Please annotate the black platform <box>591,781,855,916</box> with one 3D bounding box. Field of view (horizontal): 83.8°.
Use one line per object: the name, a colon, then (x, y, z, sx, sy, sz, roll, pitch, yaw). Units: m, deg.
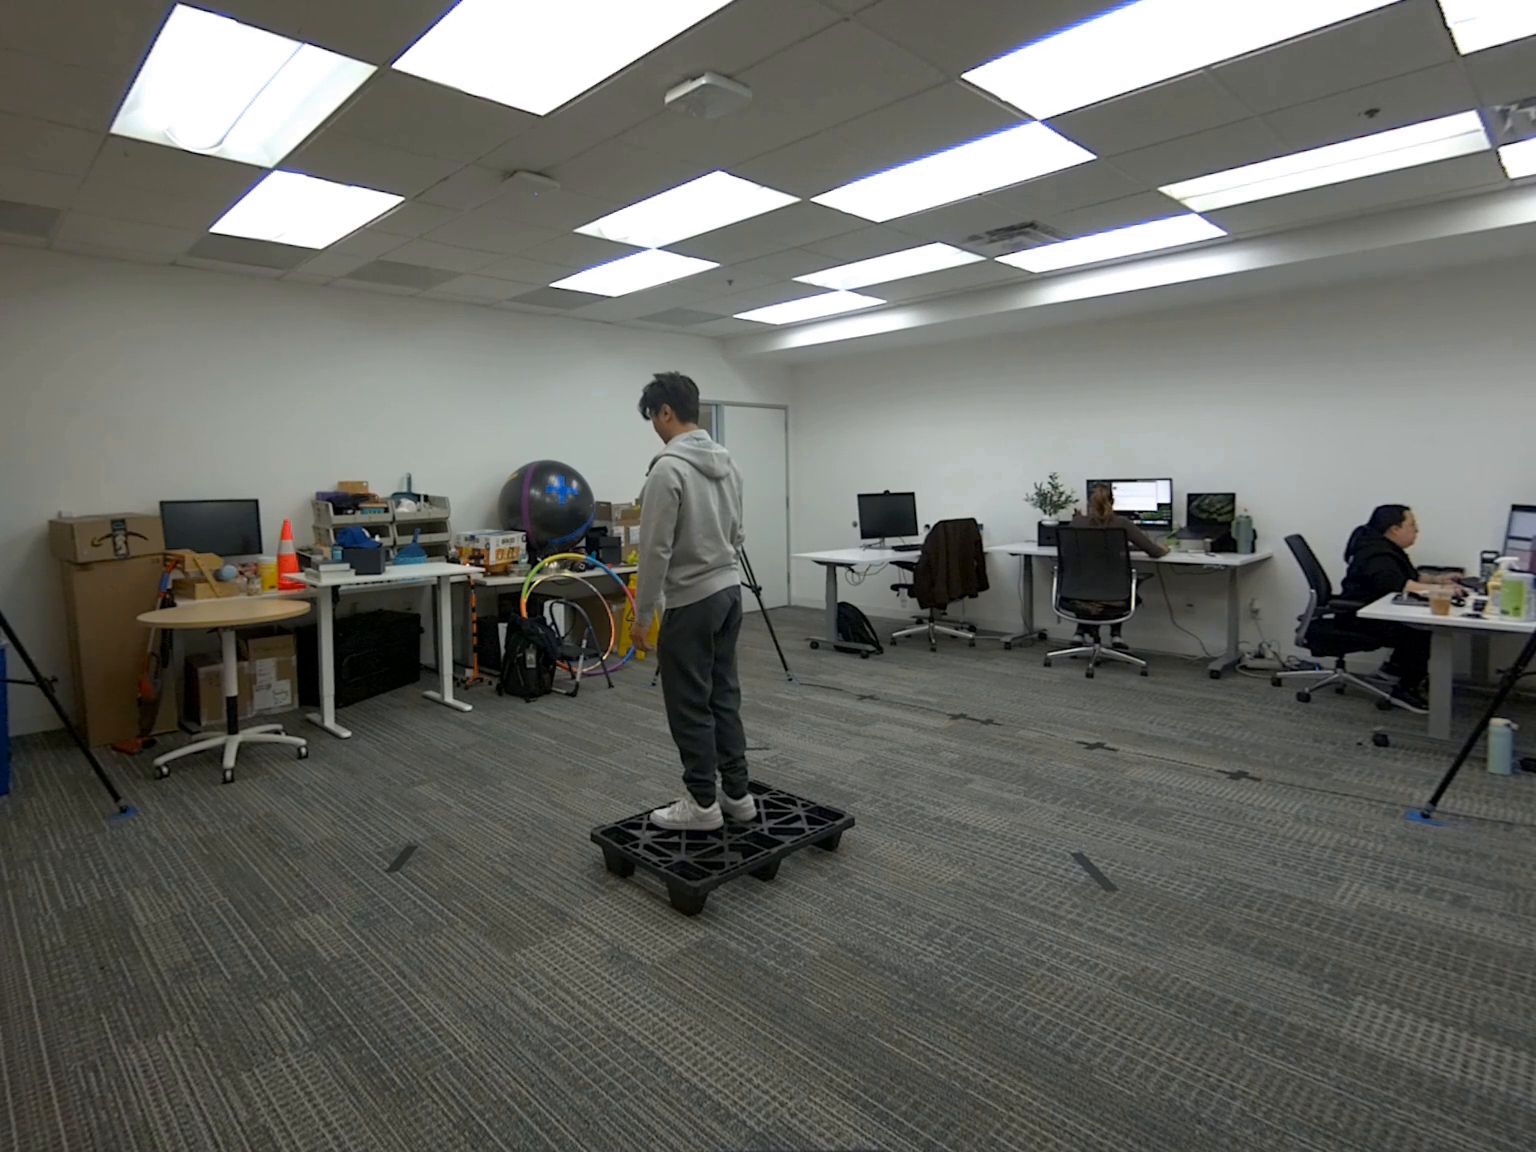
black platform: (-0.153, 0.976, 3.147, 0.785, 0.142, 0.624, -7, 10, -43)
